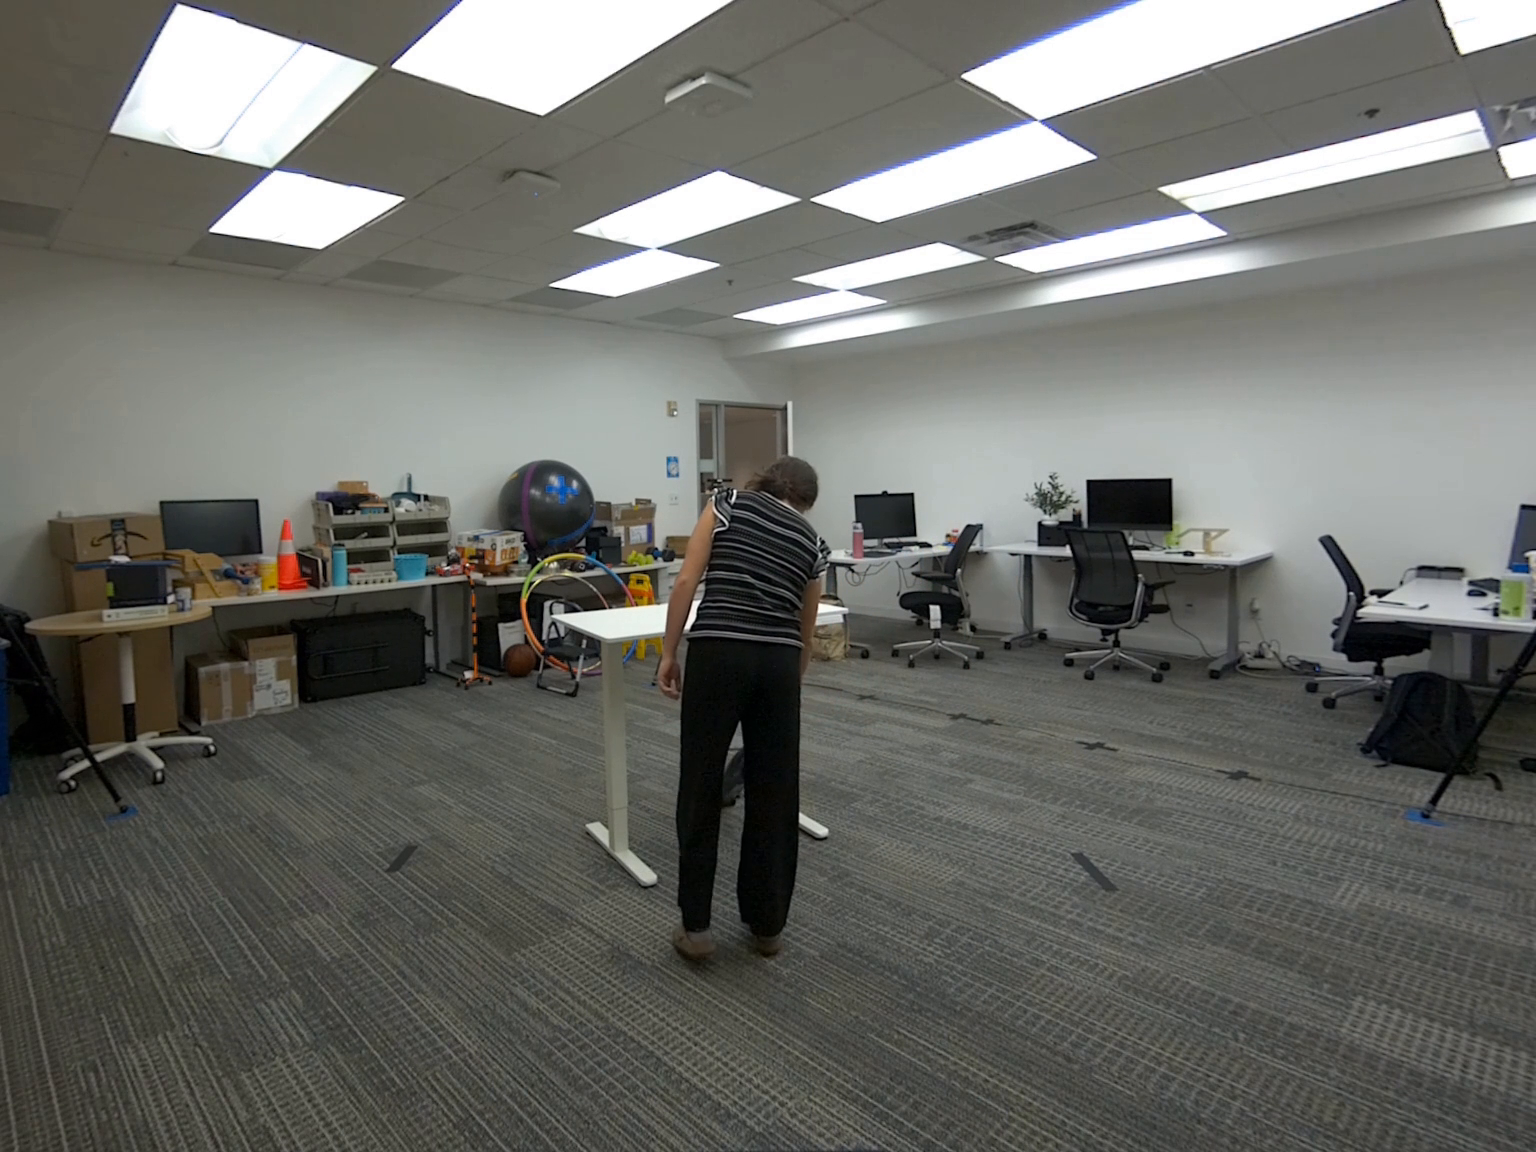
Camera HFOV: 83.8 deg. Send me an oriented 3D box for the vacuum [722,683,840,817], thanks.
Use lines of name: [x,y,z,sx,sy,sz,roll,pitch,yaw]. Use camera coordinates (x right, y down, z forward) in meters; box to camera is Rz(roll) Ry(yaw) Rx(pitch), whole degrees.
vacuum: [-0.067,0.712,3.282,0.248,0.148,1.040,-10,-26,-27]
